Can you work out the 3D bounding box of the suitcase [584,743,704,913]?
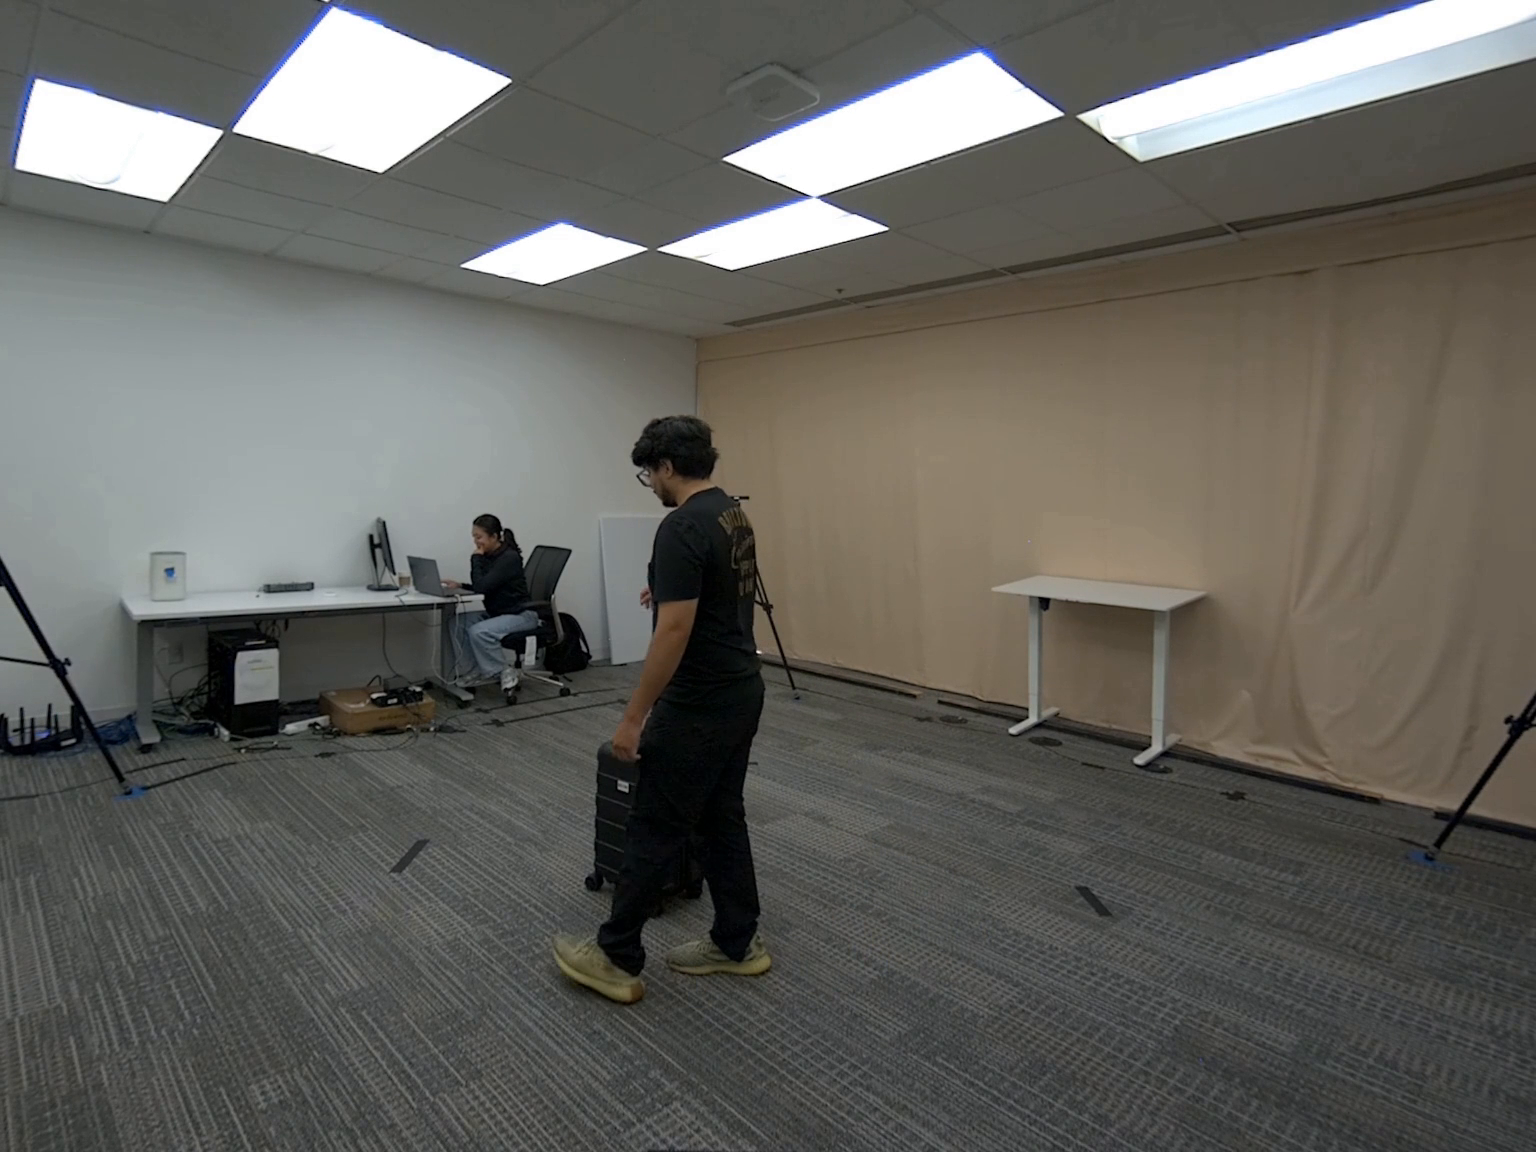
[{"bbox_3d":[-0.418,0.639,2.924,0.393,0.976,0.251,4,5,39],"label":"suitcase"}]
